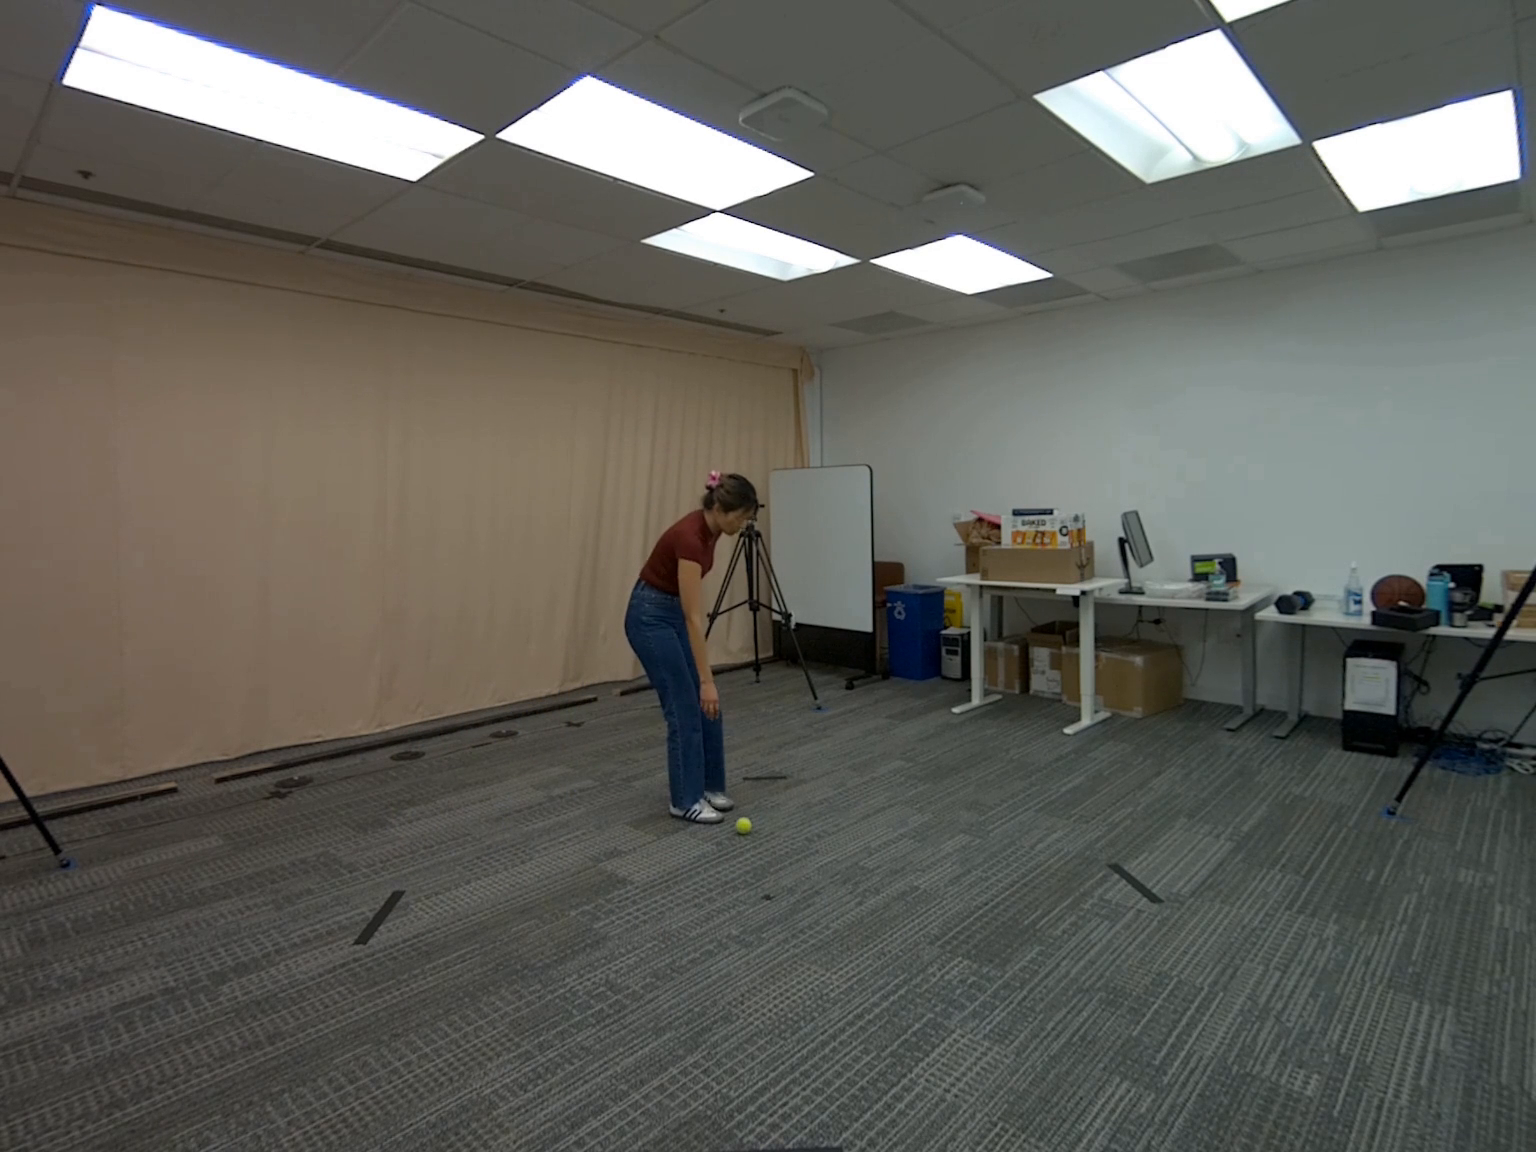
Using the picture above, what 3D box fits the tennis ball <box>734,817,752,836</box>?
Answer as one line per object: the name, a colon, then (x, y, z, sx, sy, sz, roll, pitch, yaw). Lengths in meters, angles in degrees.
tennis ball: (-0.108, 1.051, 3.559, 0.066, 0.066, 0.067, -1, 4, -2)
